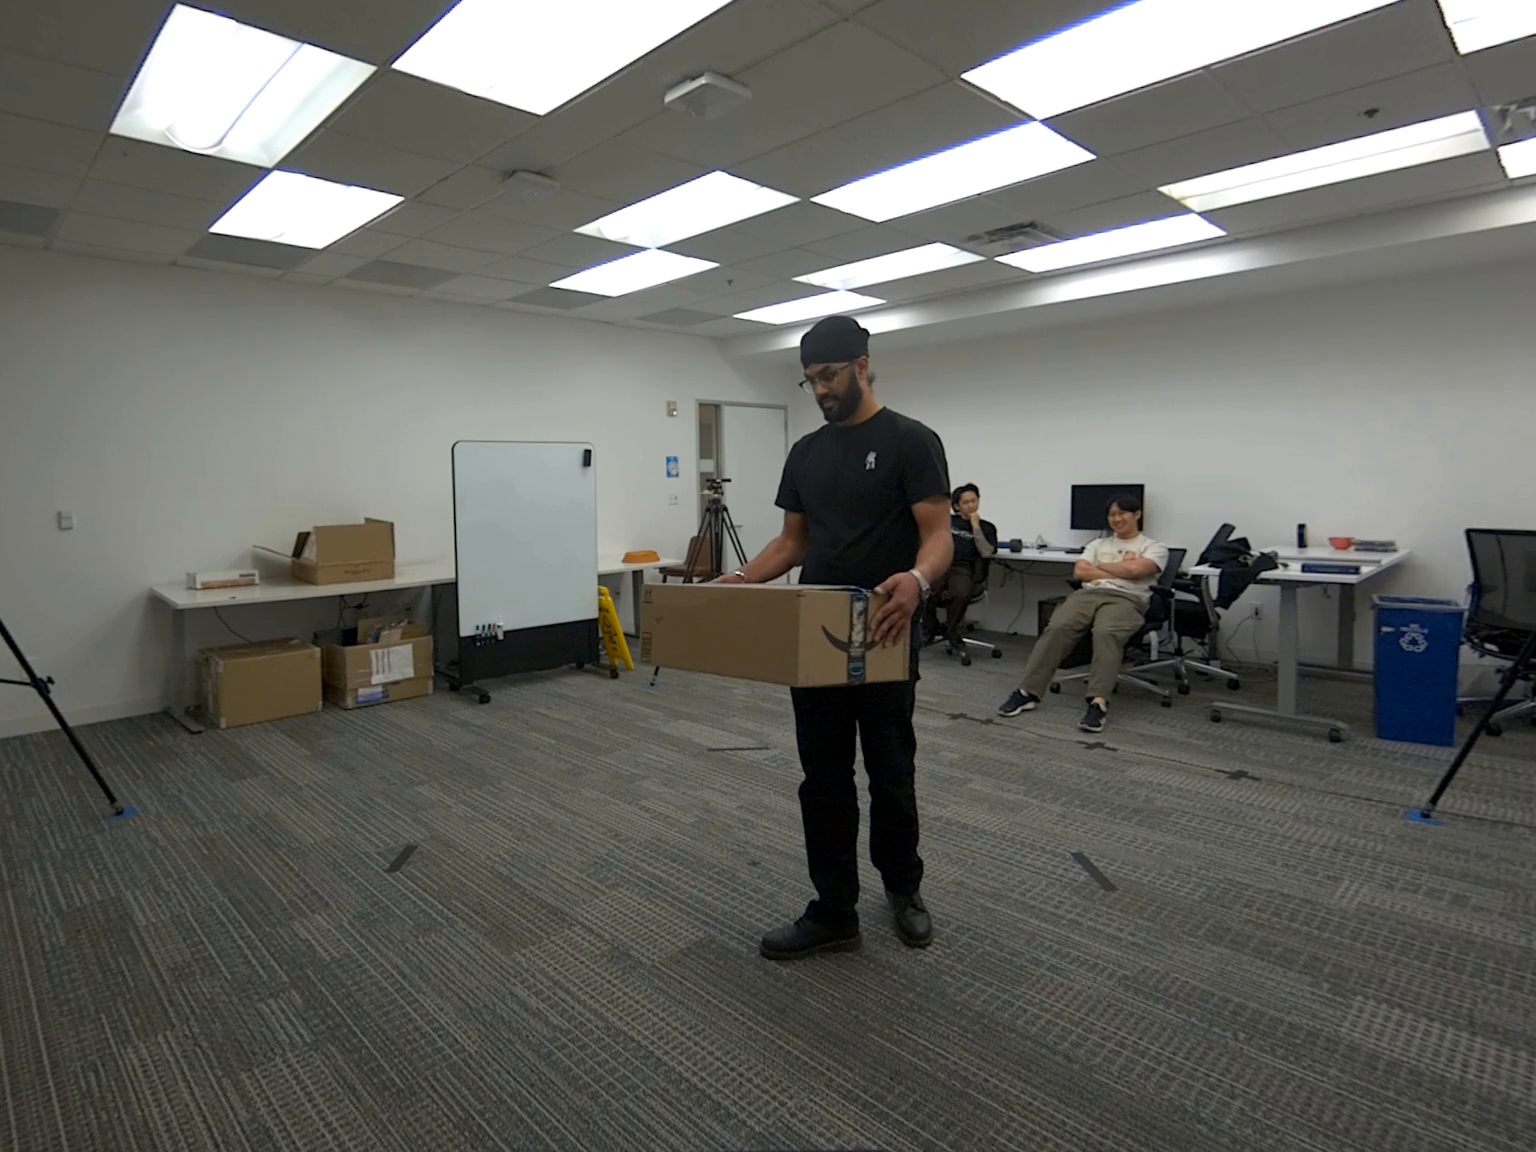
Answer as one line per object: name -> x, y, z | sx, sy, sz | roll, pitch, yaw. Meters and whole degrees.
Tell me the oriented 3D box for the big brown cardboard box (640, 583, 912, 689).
big brown cardboard box -> 0.014, 0.139, 2.199 | 0.405, 0.234, 0.606 | 4, -2, -44
